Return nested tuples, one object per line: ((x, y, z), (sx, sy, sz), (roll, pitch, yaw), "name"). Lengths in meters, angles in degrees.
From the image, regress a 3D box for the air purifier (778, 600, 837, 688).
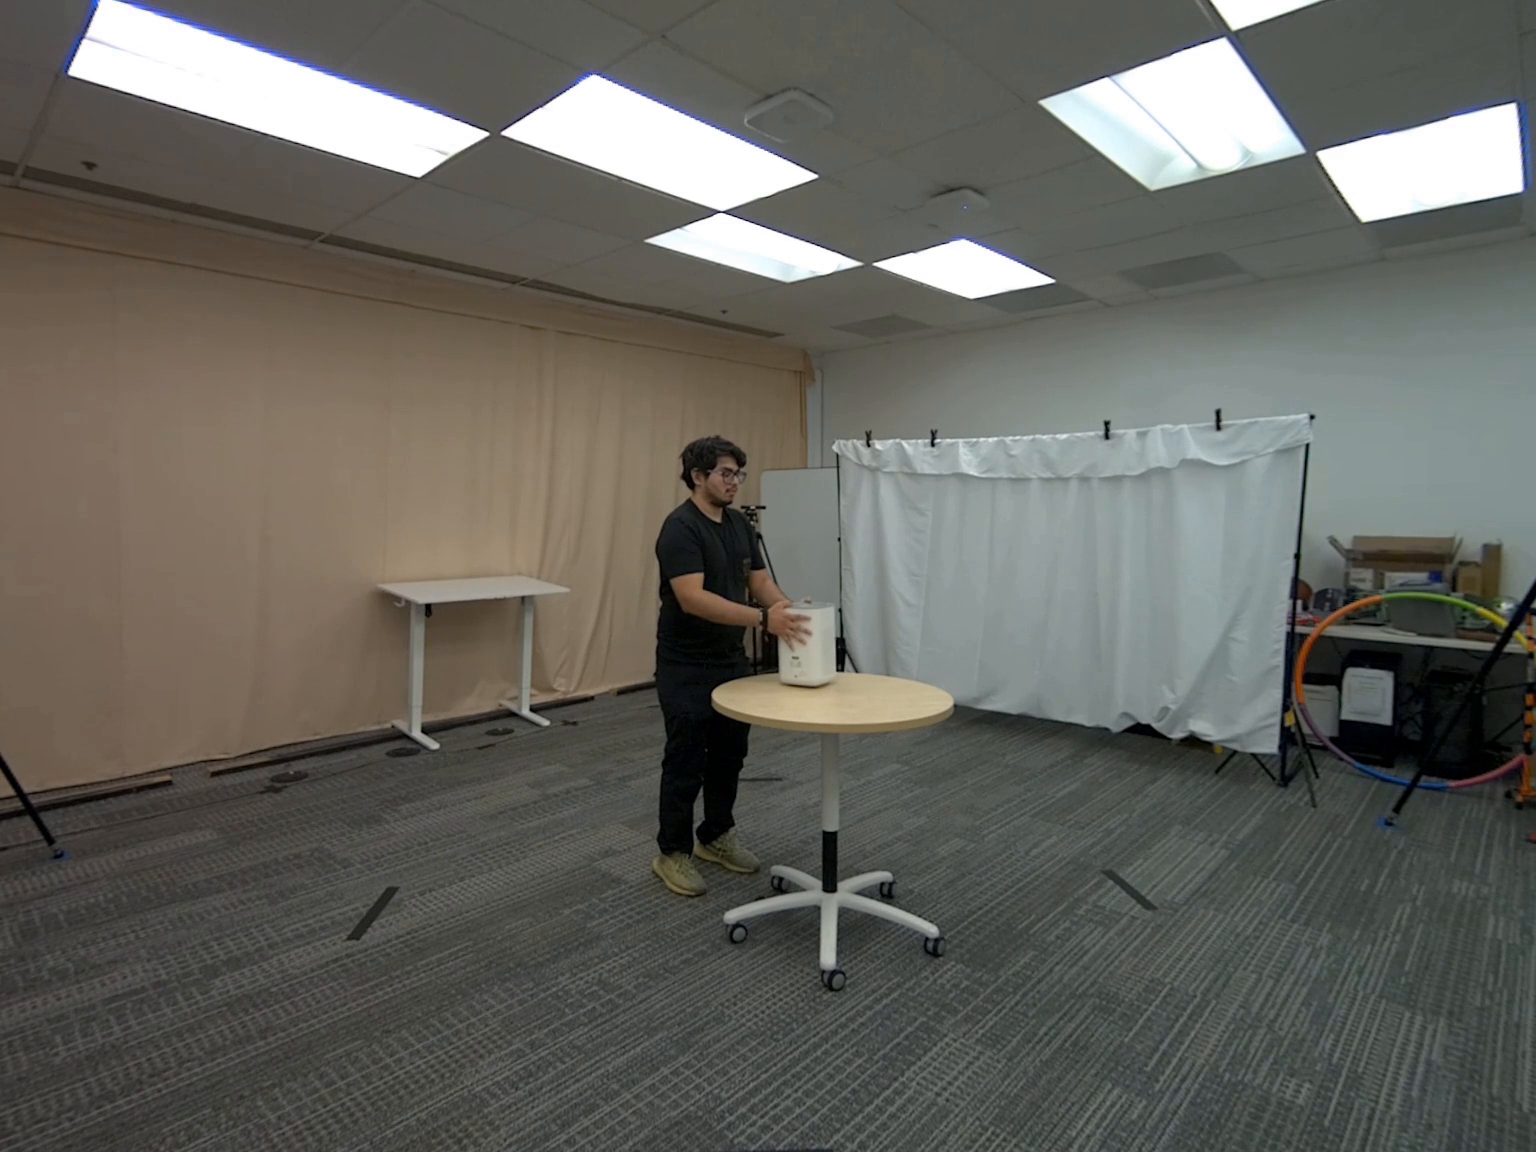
((0.132, 0.231, 2.867), (0.176, 0.265, 0.167), (-1, 3, 32), "air purifier")
